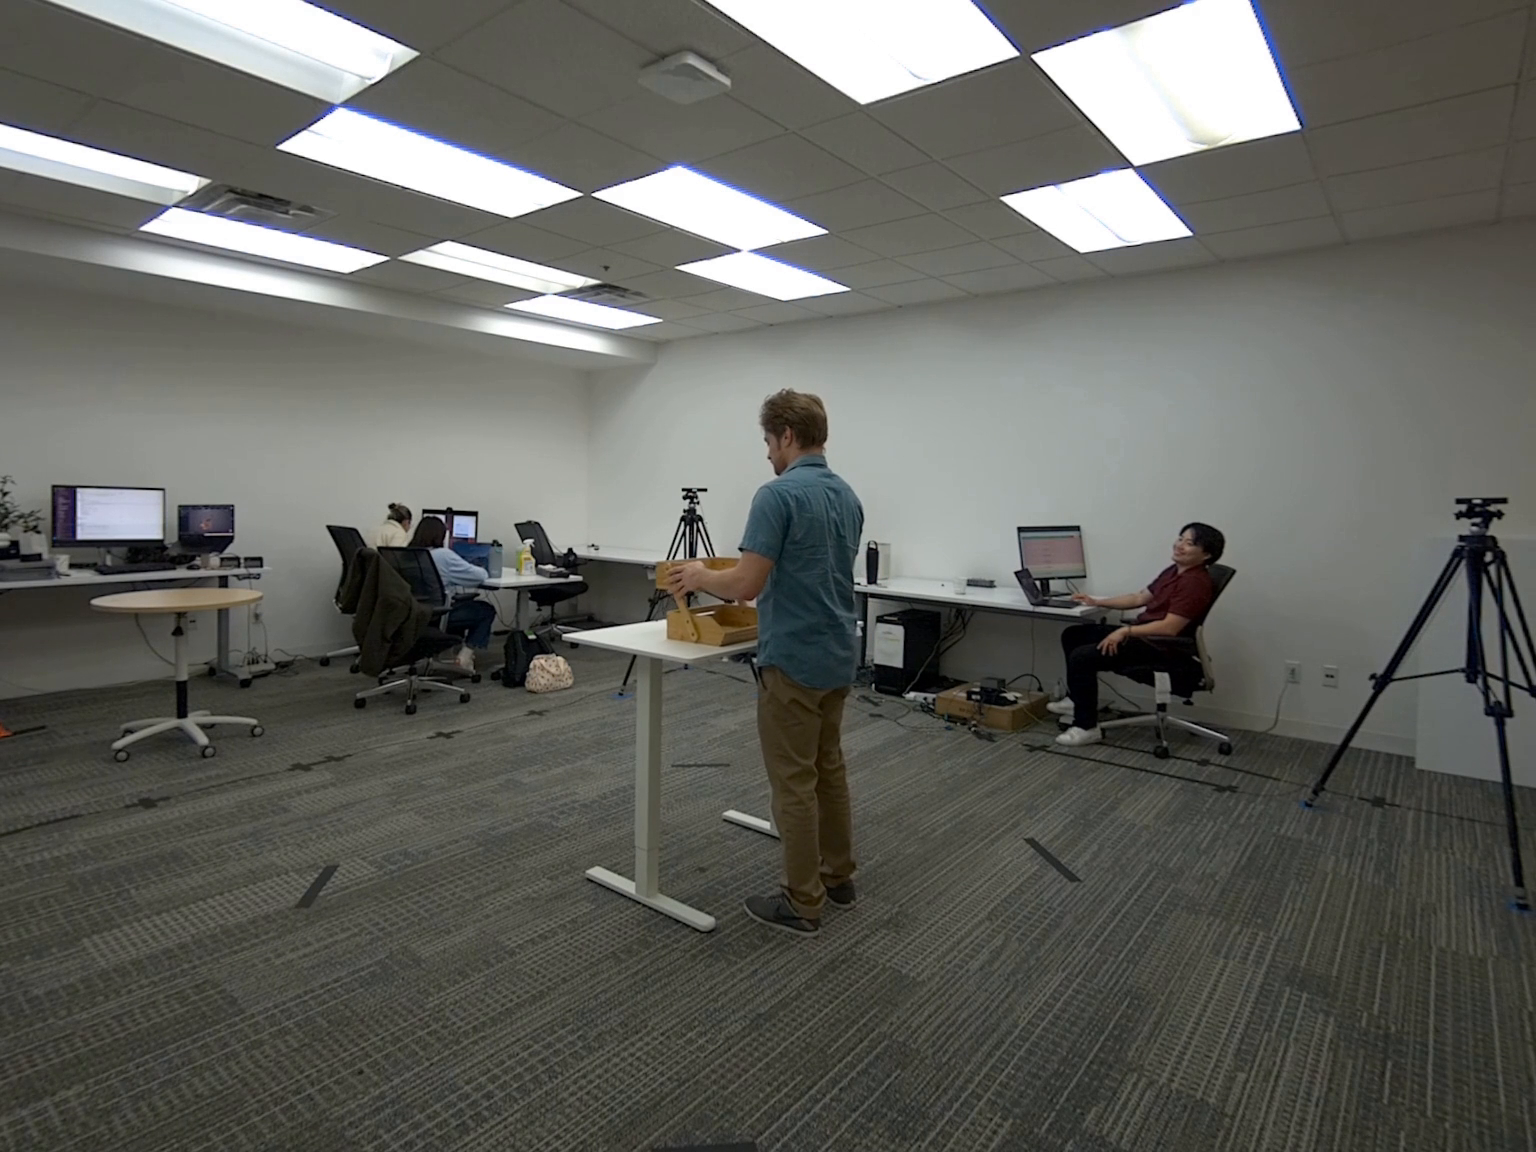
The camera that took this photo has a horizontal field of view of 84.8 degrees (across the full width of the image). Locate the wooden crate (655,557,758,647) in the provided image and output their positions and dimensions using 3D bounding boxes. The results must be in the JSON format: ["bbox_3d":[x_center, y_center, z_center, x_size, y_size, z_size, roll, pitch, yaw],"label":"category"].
[{"bbox_3d":[-0.183,0.074,2.922,0.312,0.272,0.315,2,5,37],"label":"wooden crate"}]
